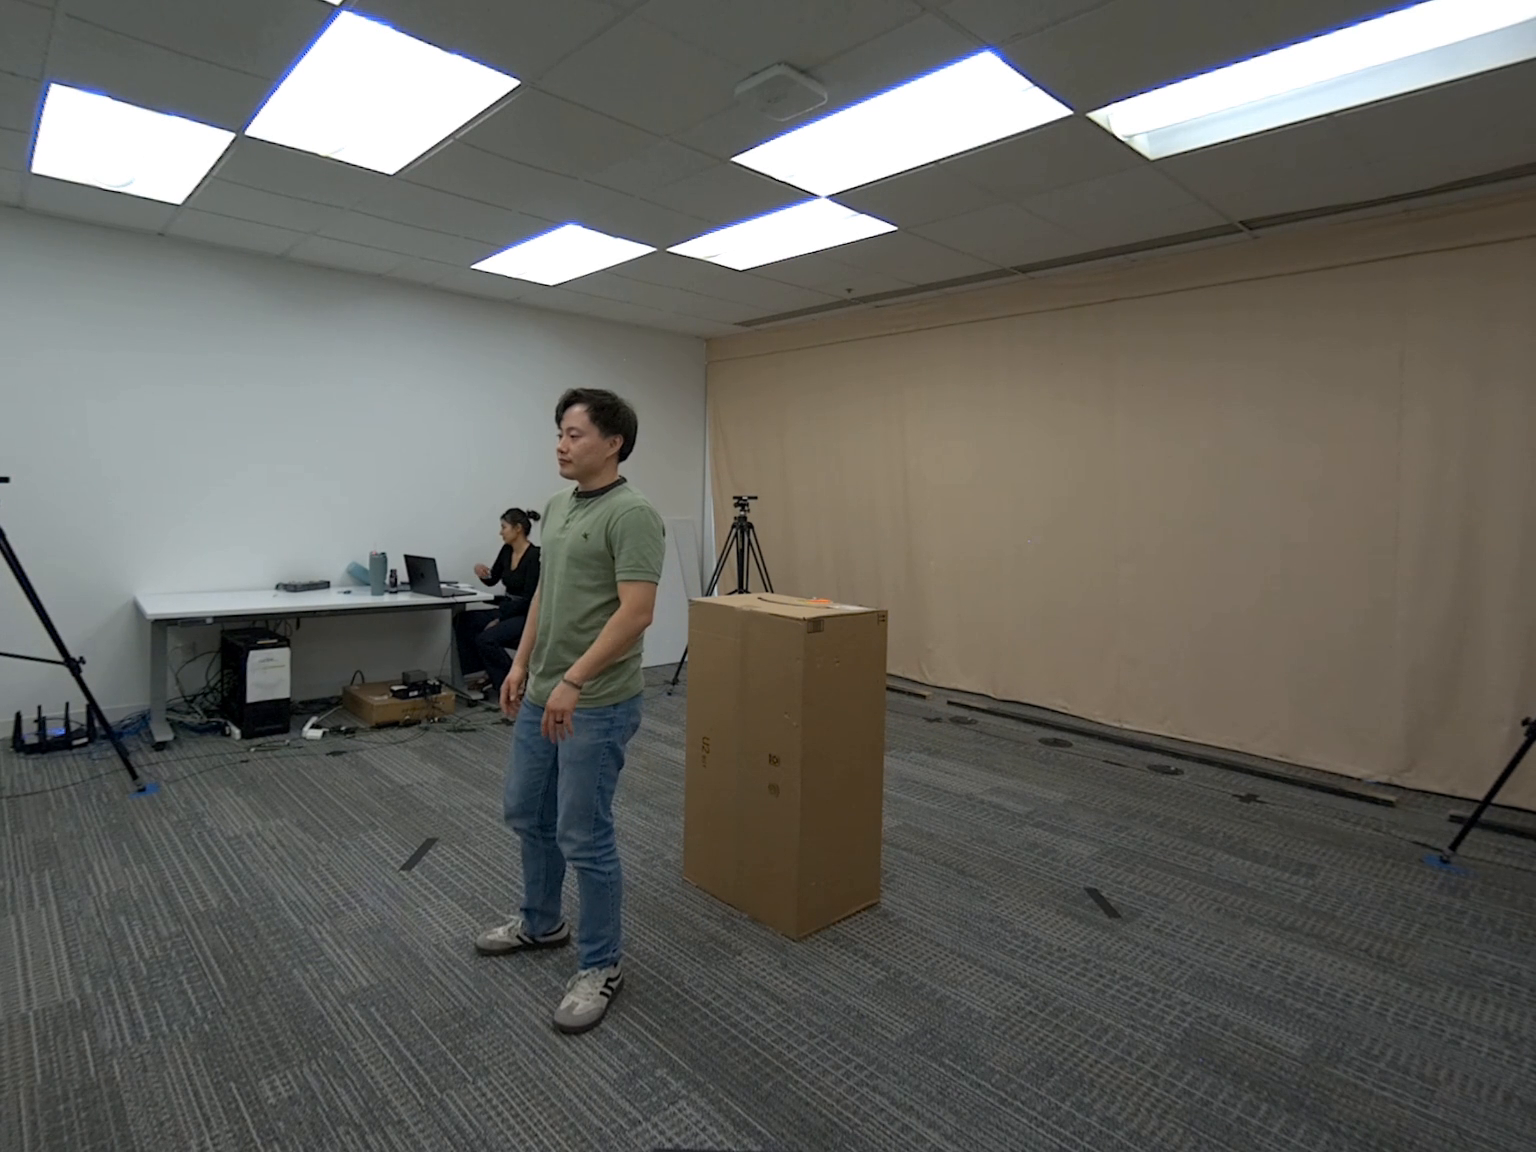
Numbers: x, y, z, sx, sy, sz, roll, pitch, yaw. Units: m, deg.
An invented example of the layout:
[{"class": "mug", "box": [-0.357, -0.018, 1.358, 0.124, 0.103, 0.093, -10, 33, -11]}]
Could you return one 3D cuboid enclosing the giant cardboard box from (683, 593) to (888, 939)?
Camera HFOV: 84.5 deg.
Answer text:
[{"class": "giant cardboard box", "box": [0.043, 0.609, 2.969, 0.416, 1.023, 0.592, -1, 4, -43]}]
